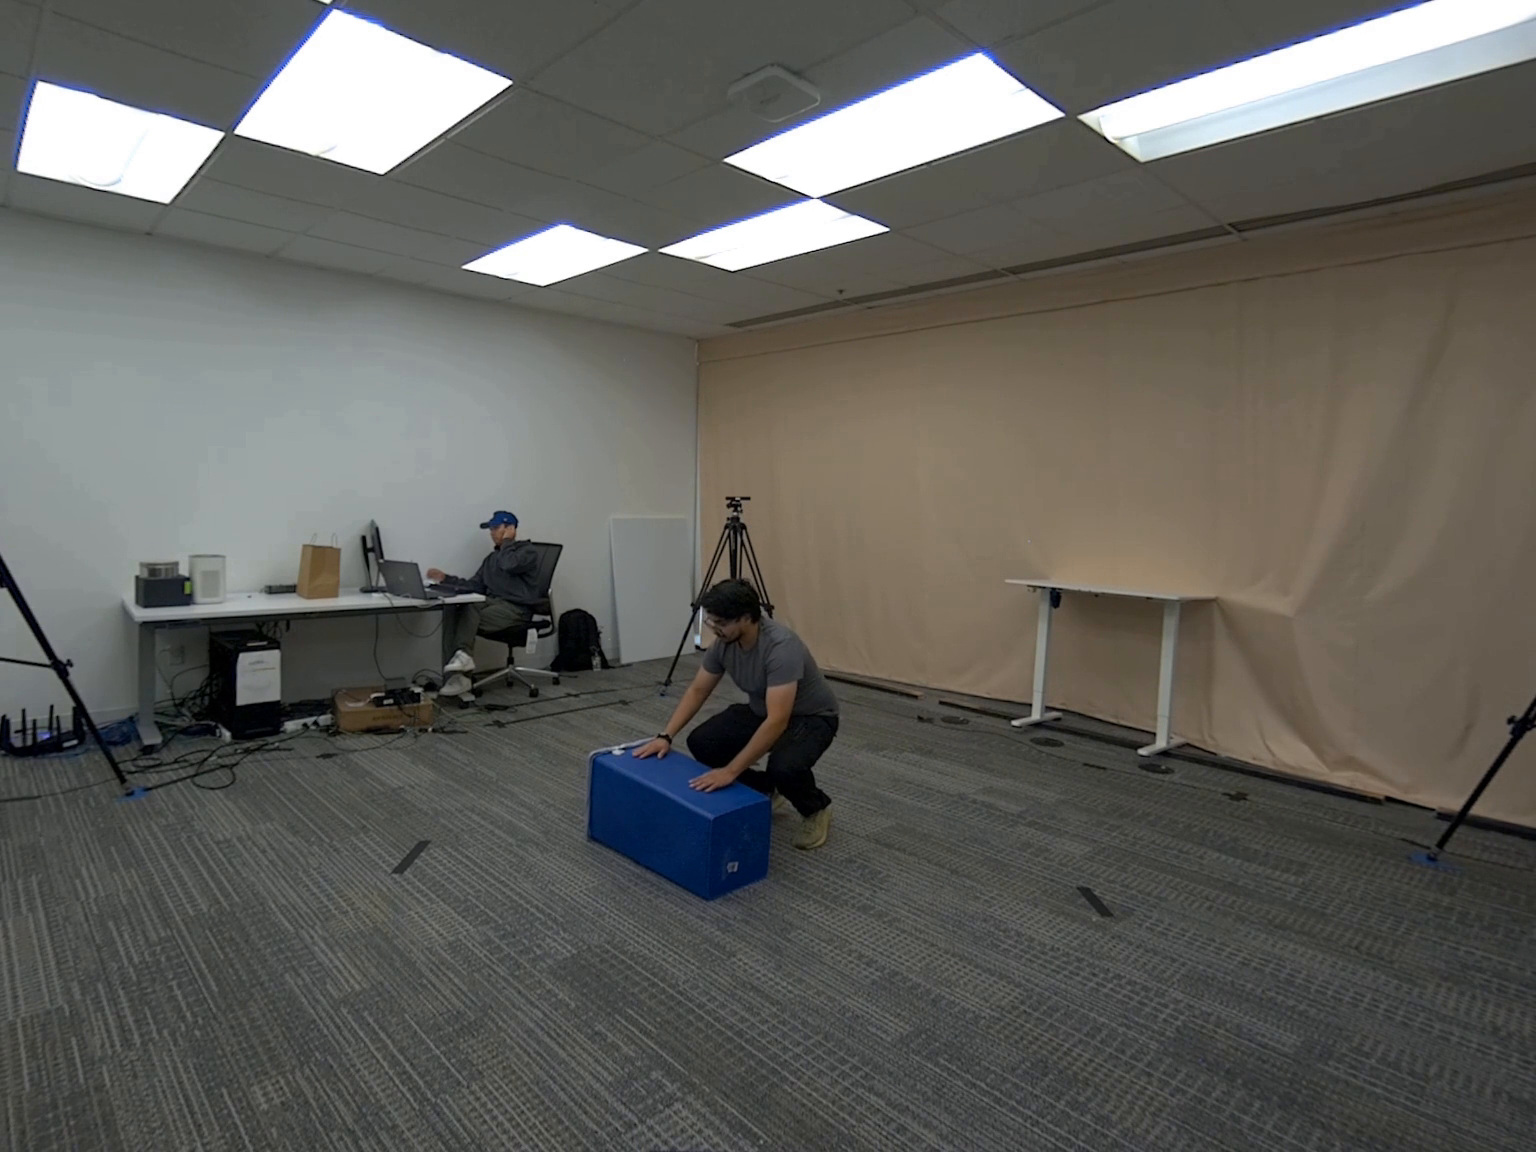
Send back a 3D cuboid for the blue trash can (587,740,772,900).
[{"bbox_3d":[-0.359,0.918,3.235,0.365,0.377,0.732,-2,7,-43],"label":"blue trash can"}]
